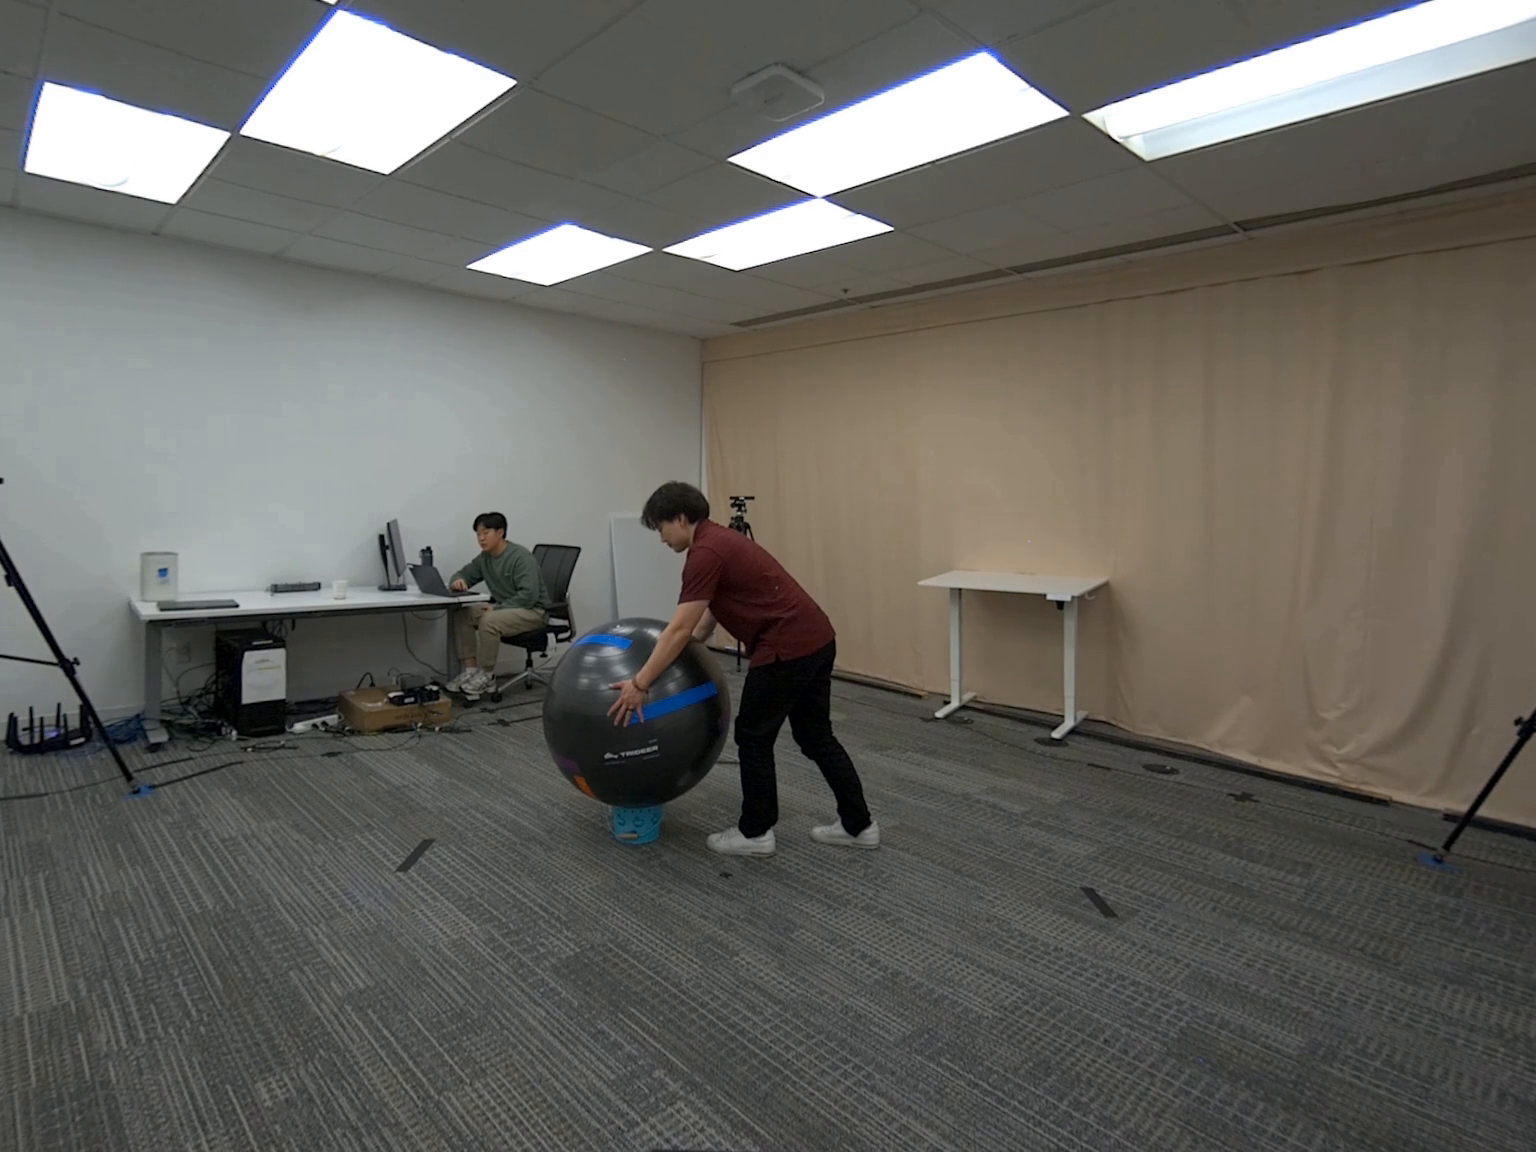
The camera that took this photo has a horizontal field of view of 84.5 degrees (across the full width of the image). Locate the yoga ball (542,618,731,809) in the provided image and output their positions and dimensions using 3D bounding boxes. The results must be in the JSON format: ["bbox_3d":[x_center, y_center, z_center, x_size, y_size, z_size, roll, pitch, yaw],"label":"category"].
[{"bbox_3d":[-0.542,0.554,3.430,0.757,0.756,0.761,1,4,-1],"label":"yoga ball"}]
